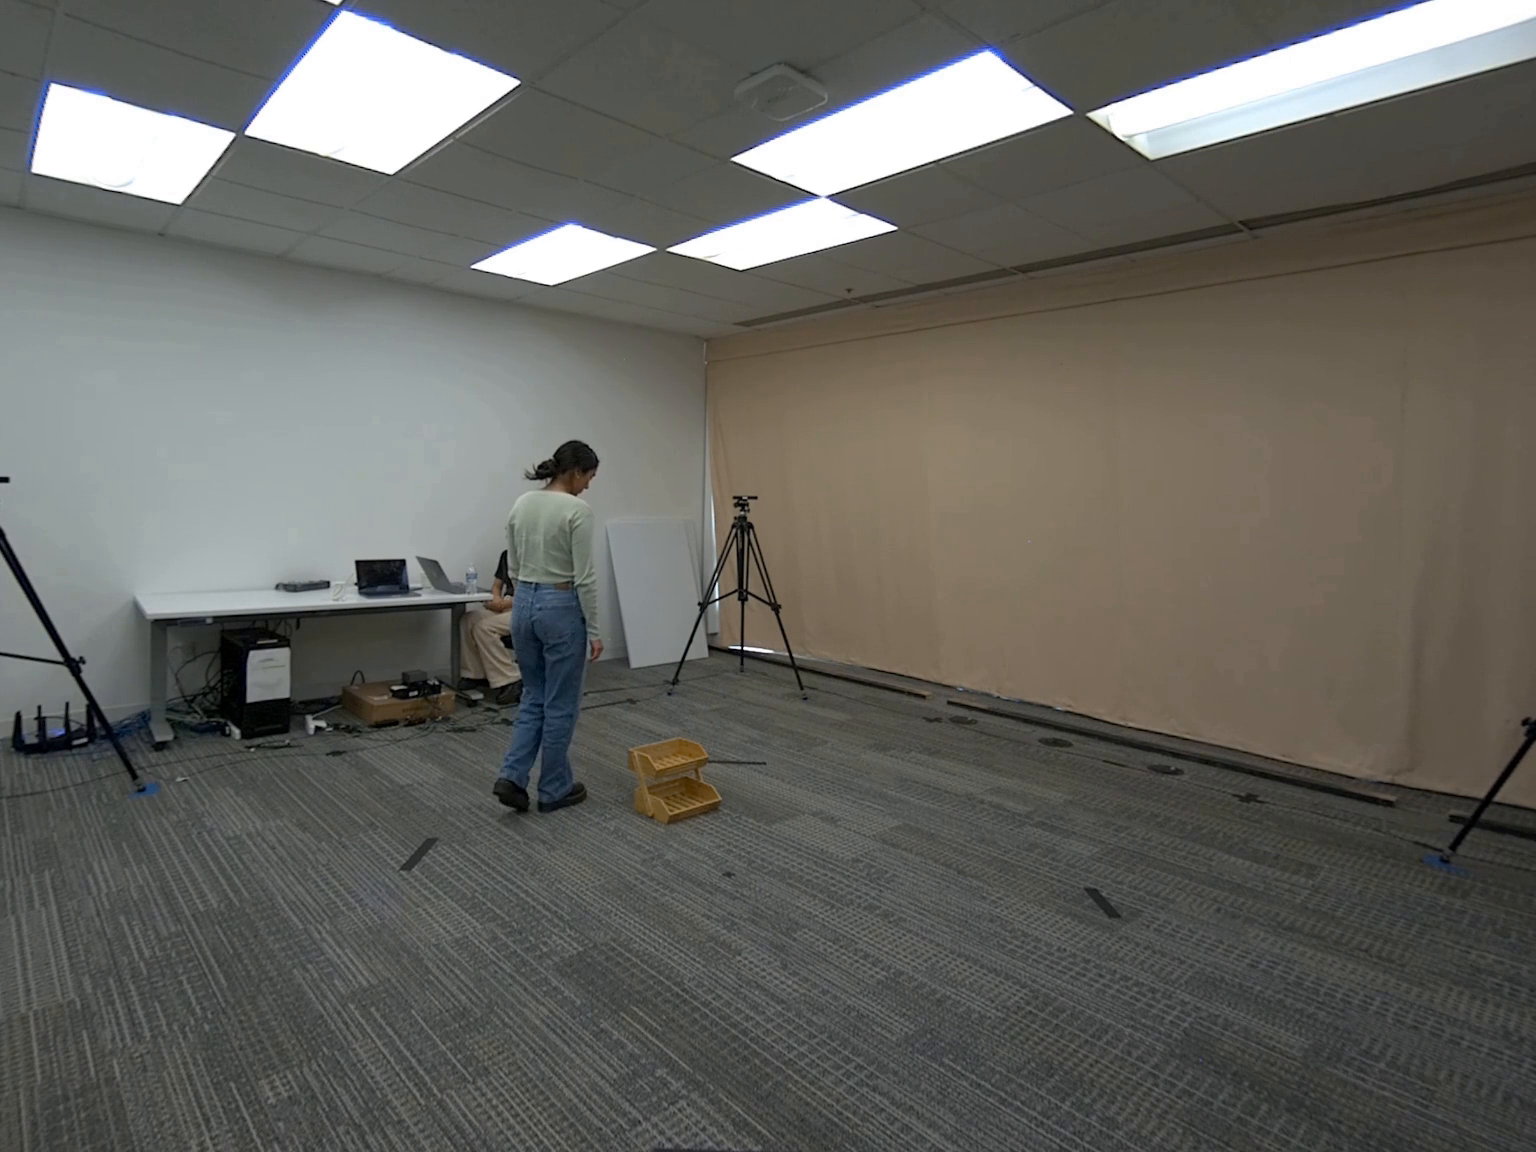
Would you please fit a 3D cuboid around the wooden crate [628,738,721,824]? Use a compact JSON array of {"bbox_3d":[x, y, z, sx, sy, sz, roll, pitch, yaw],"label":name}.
[{"bbox_3d":[-0.427,0.903,3.762,0.317,0.273,0.310,-3,5,-45],"label":"wooden crate"}]
